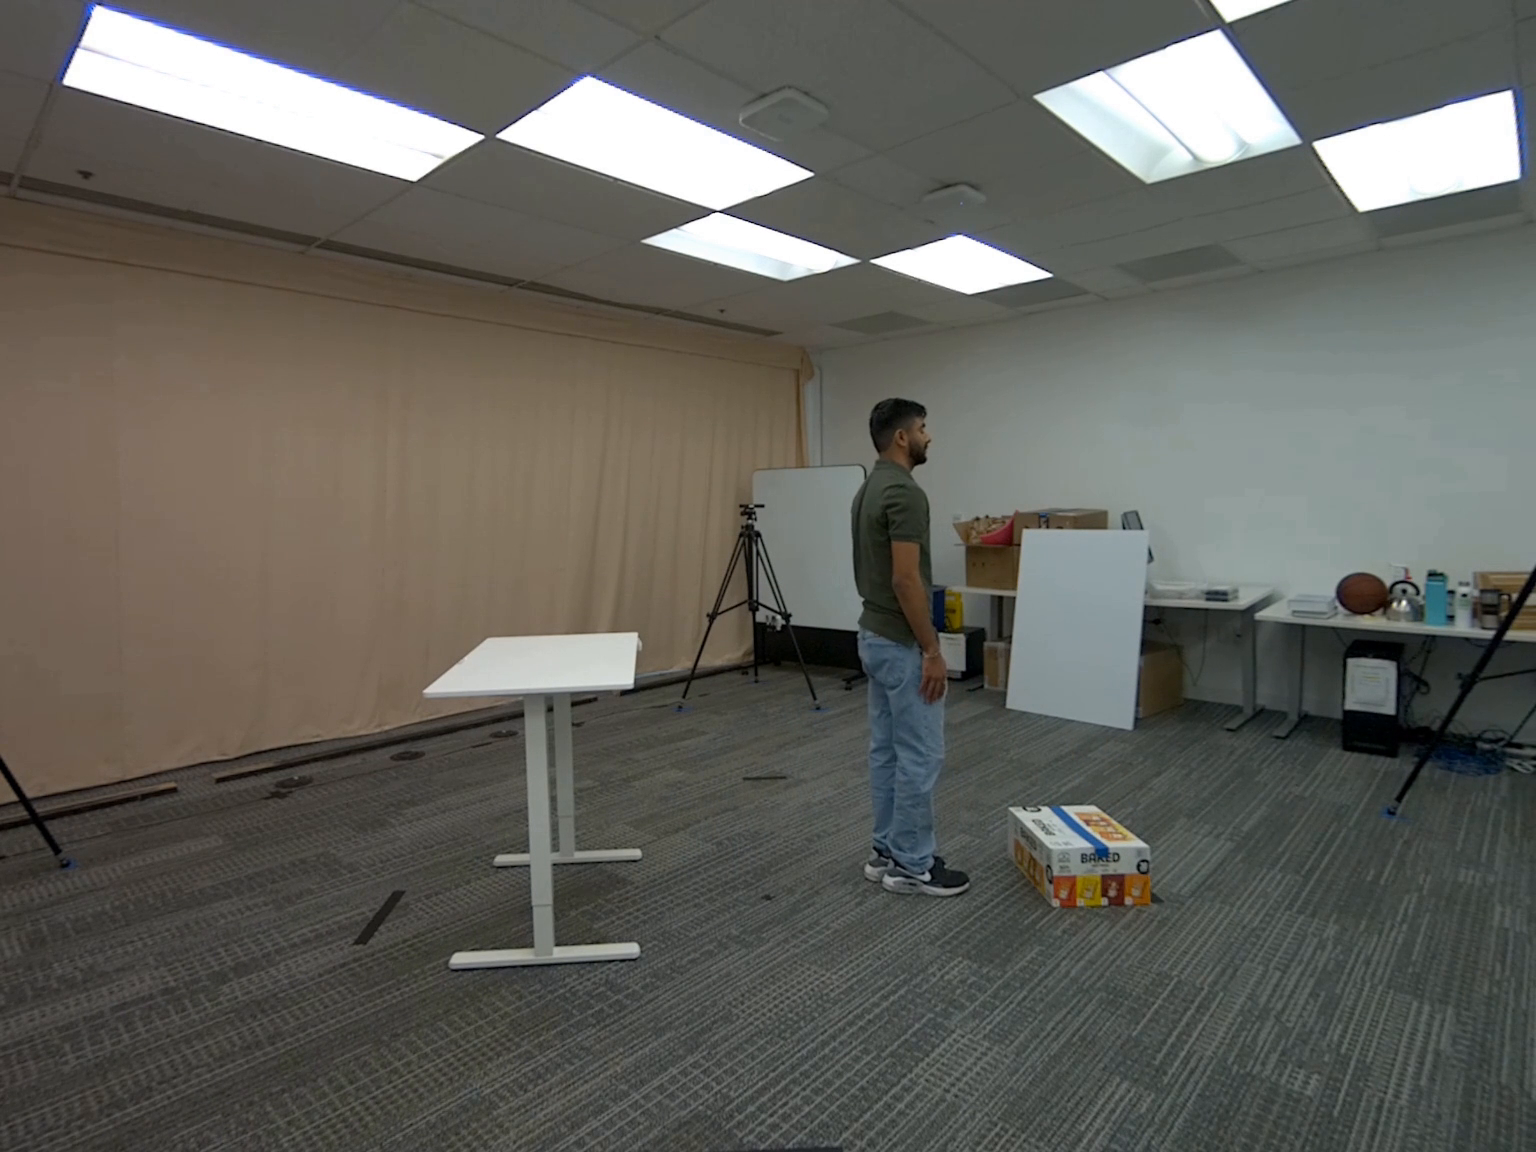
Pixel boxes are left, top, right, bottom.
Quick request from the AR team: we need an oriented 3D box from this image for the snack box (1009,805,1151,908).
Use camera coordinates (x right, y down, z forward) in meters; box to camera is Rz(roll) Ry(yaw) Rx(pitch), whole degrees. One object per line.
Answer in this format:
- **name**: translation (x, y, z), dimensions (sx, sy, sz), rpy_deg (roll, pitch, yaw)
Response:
- **snack box**: translation (1.128, 1.015, 3.074), dimensions (0.339, 0.205, 0.407), rpy_deg (-1, 4, -4)
